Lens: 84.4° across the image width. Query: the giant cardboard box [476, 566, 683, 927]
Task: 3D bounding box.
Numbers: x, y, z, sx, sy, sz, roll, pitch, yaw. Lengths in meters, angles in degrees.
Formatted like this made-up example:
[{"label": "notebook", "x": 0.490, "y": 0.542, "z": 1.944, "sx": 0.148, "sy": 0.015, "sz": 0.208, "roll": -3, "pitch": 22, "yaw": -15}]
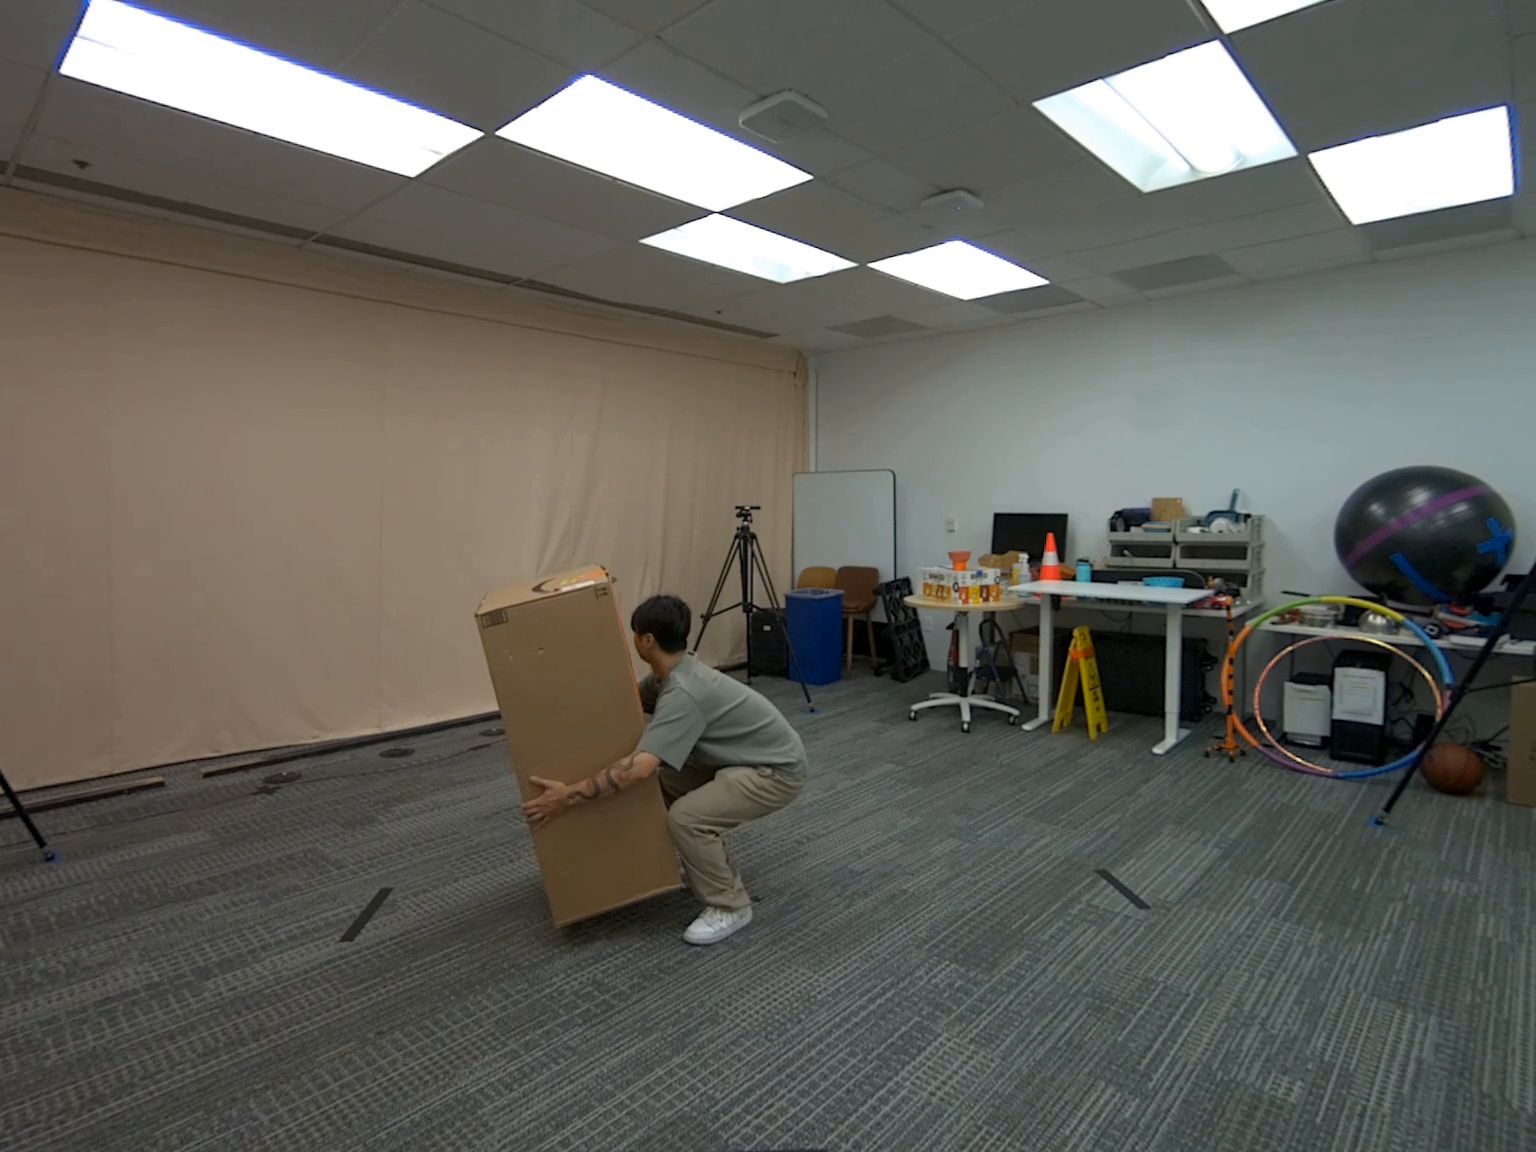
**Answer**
[{"label": "giant cardboard box", "x": -0.662, "y": 0.519, "z": 2.895, "sx": 0.422, "sy": 1.020, "sz": 0.586, "roll": -12, "pitch": 7, "yaw": -10}]
